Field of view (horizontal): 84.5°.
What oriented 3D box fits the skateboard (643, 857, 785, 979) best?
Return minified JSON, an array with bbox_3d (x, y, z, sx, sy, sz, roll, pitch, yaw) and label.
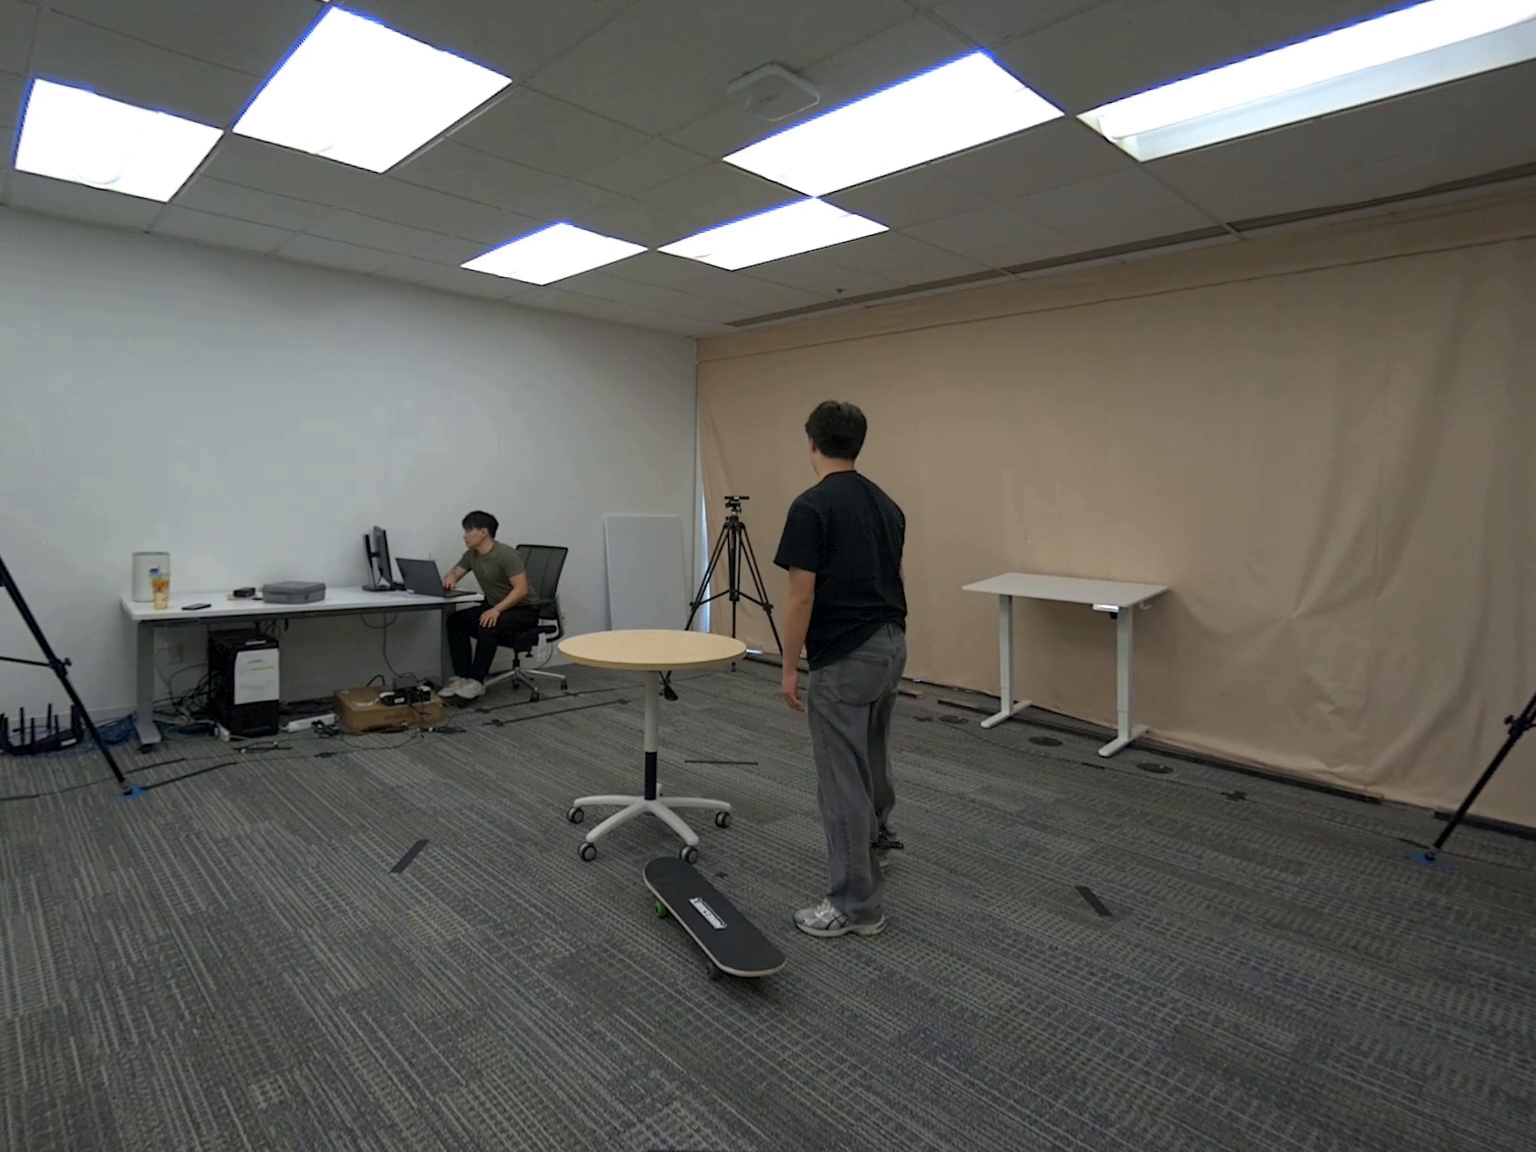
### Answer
[{"bbox_3d":[-0.194,1.090,2.641,0.190,0.110,0.803,-3,7,-28],"label":"skateboard"}]
